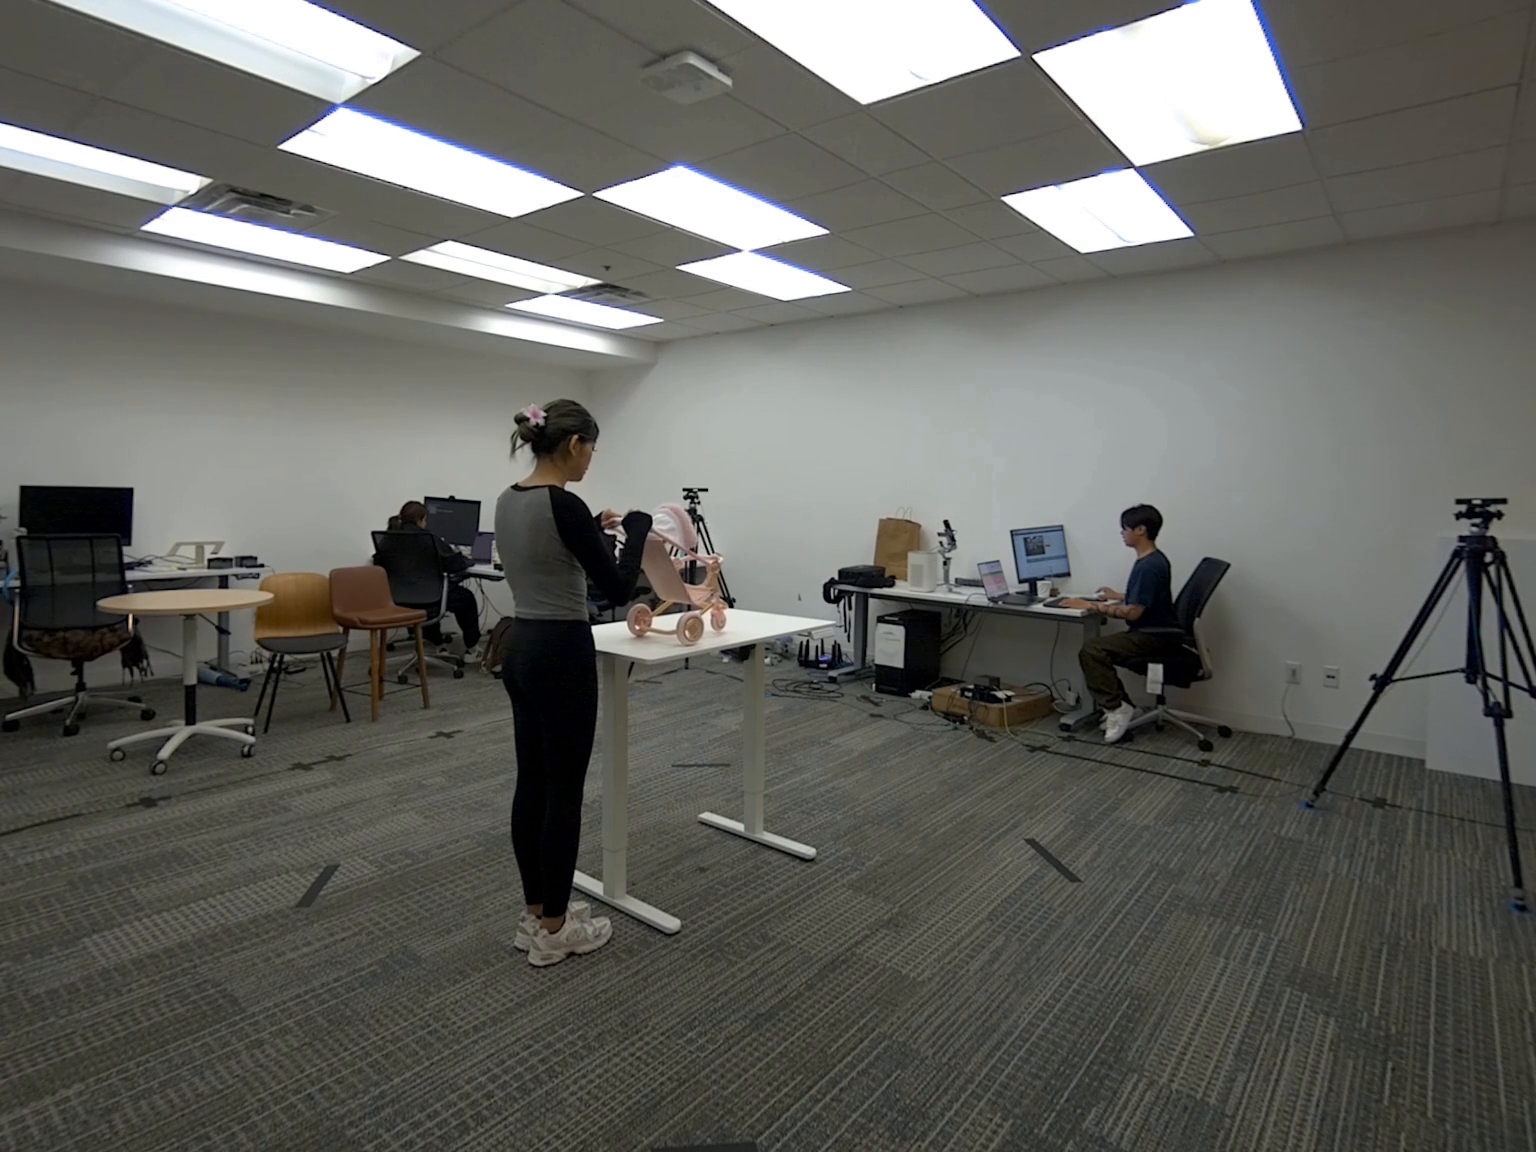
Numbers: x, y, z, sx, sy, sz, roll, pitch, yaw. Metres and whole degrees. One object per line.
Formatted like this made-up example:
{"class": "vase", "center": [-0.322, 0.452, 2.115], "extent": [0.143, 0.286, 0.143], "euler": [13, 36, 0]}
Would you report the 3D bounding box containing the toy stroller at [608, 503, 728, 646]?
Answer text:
{"class": "toy stroller", "center": [-0.317, -0.012, 2.851], "extent": [0.291, 0.526, 0.336], "euler": [4, 23, 46]}
